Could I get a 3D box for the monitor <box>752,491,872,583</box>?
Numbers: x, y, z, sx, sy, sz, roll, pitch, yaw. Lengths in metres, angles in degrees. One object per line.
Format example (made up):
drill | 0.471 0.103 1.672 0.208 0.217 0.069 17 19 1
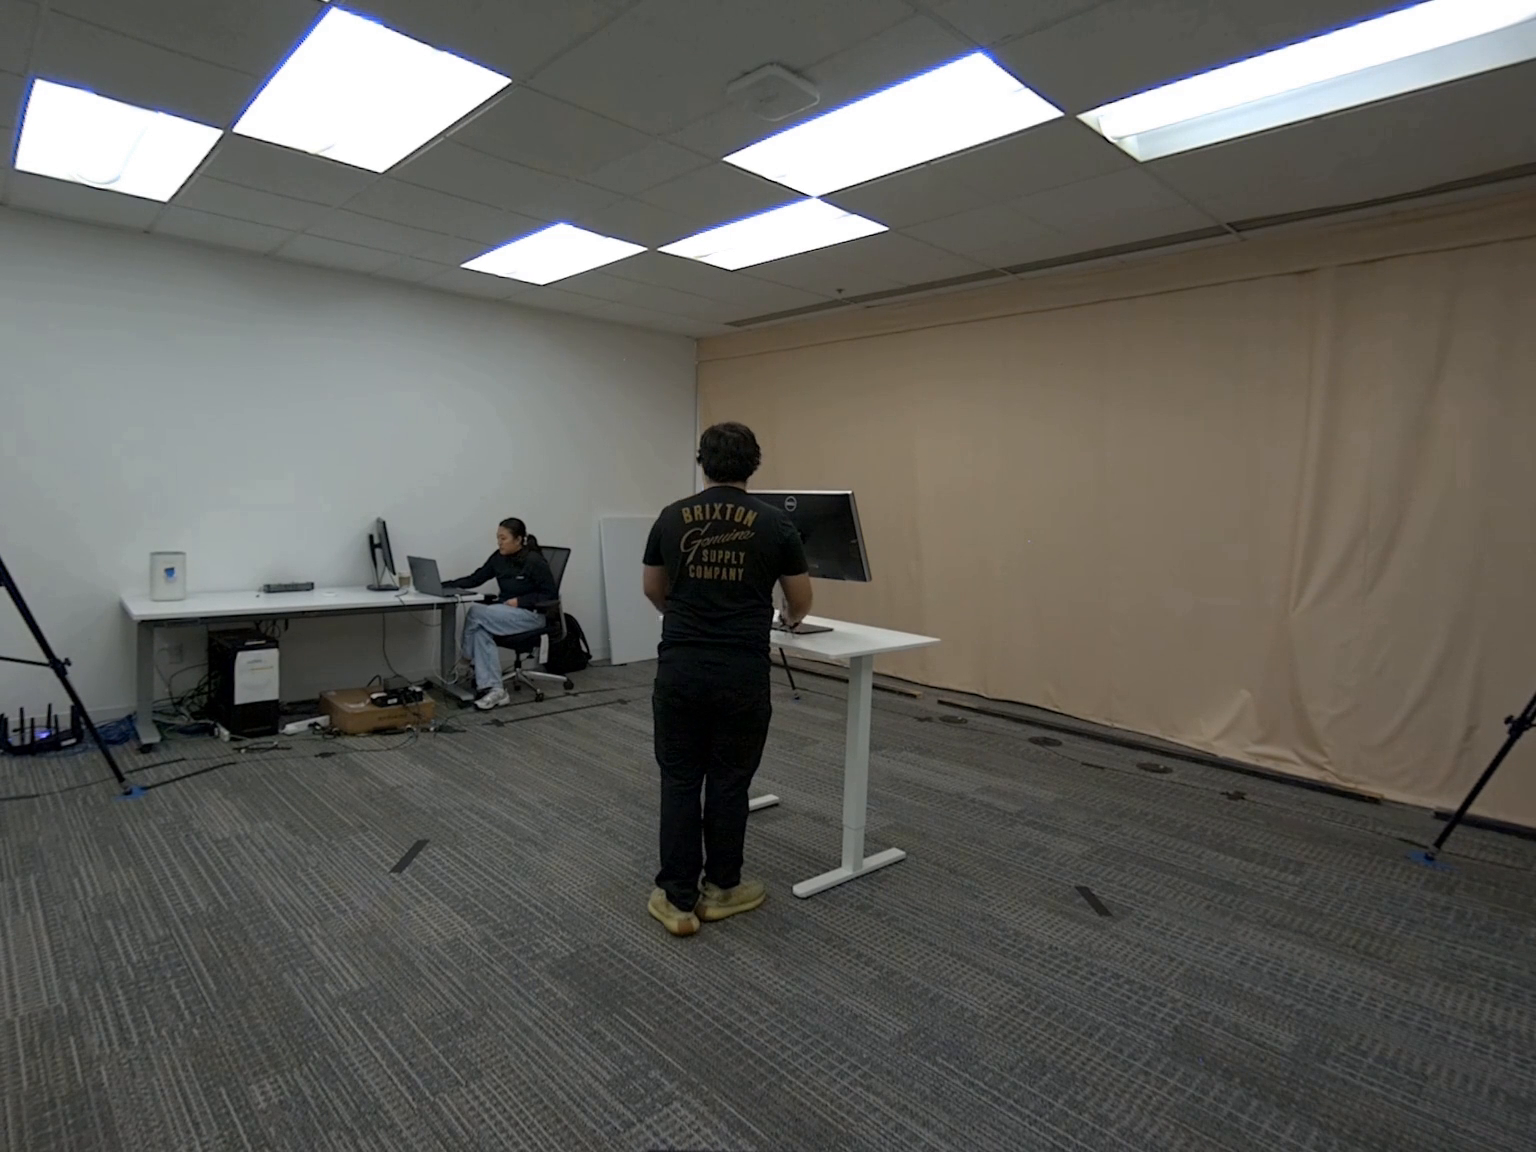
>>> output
monitor | 0.093 -0.057 3.284 0.580 0.549 0.206 5 15 43
